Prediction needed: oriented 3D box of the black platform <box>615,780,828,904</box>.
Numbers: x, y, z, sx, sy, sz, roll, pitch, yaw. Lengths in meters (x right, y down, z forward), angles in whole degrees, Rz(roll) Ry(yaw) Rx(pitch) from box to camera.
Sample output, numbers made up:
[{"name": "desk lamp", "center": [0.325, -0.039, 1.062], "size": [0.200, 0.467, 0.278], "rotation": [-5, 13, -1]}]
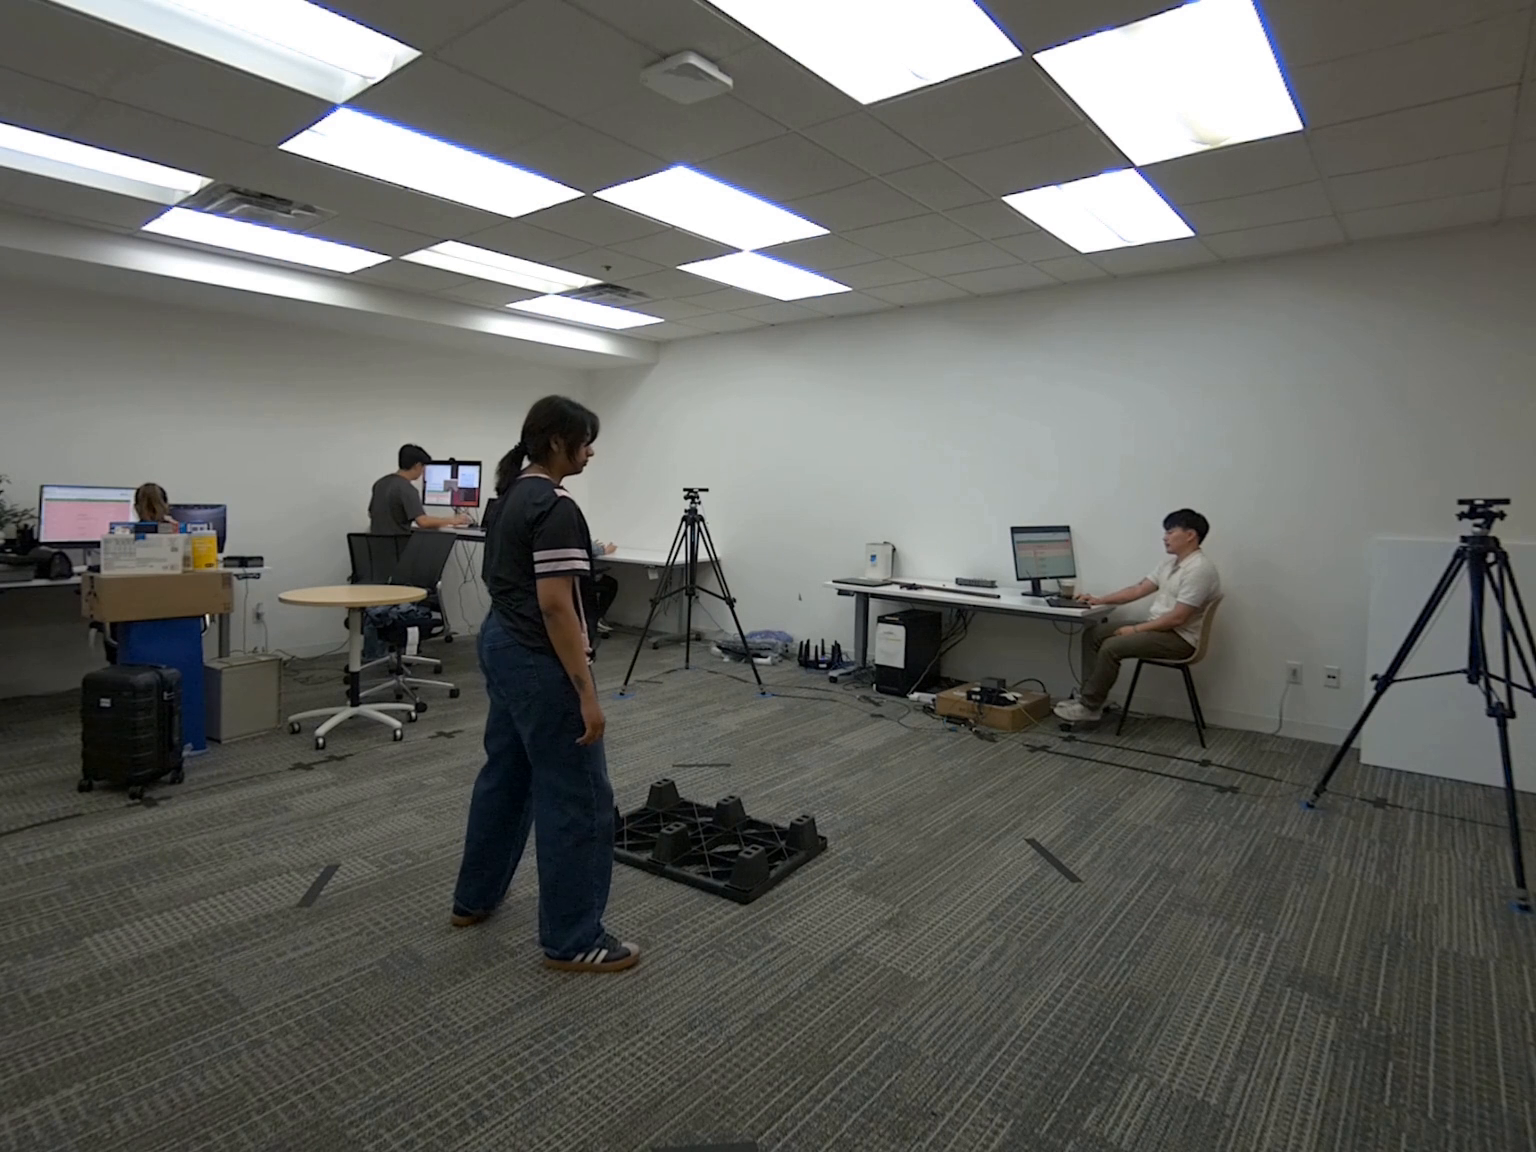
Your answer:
[{"name": "black platform", "center": [-0.260, 0.985, 3.302], "size": [0.831, 0.143, 0.589], "rotation": [5, 7, 33]}]
